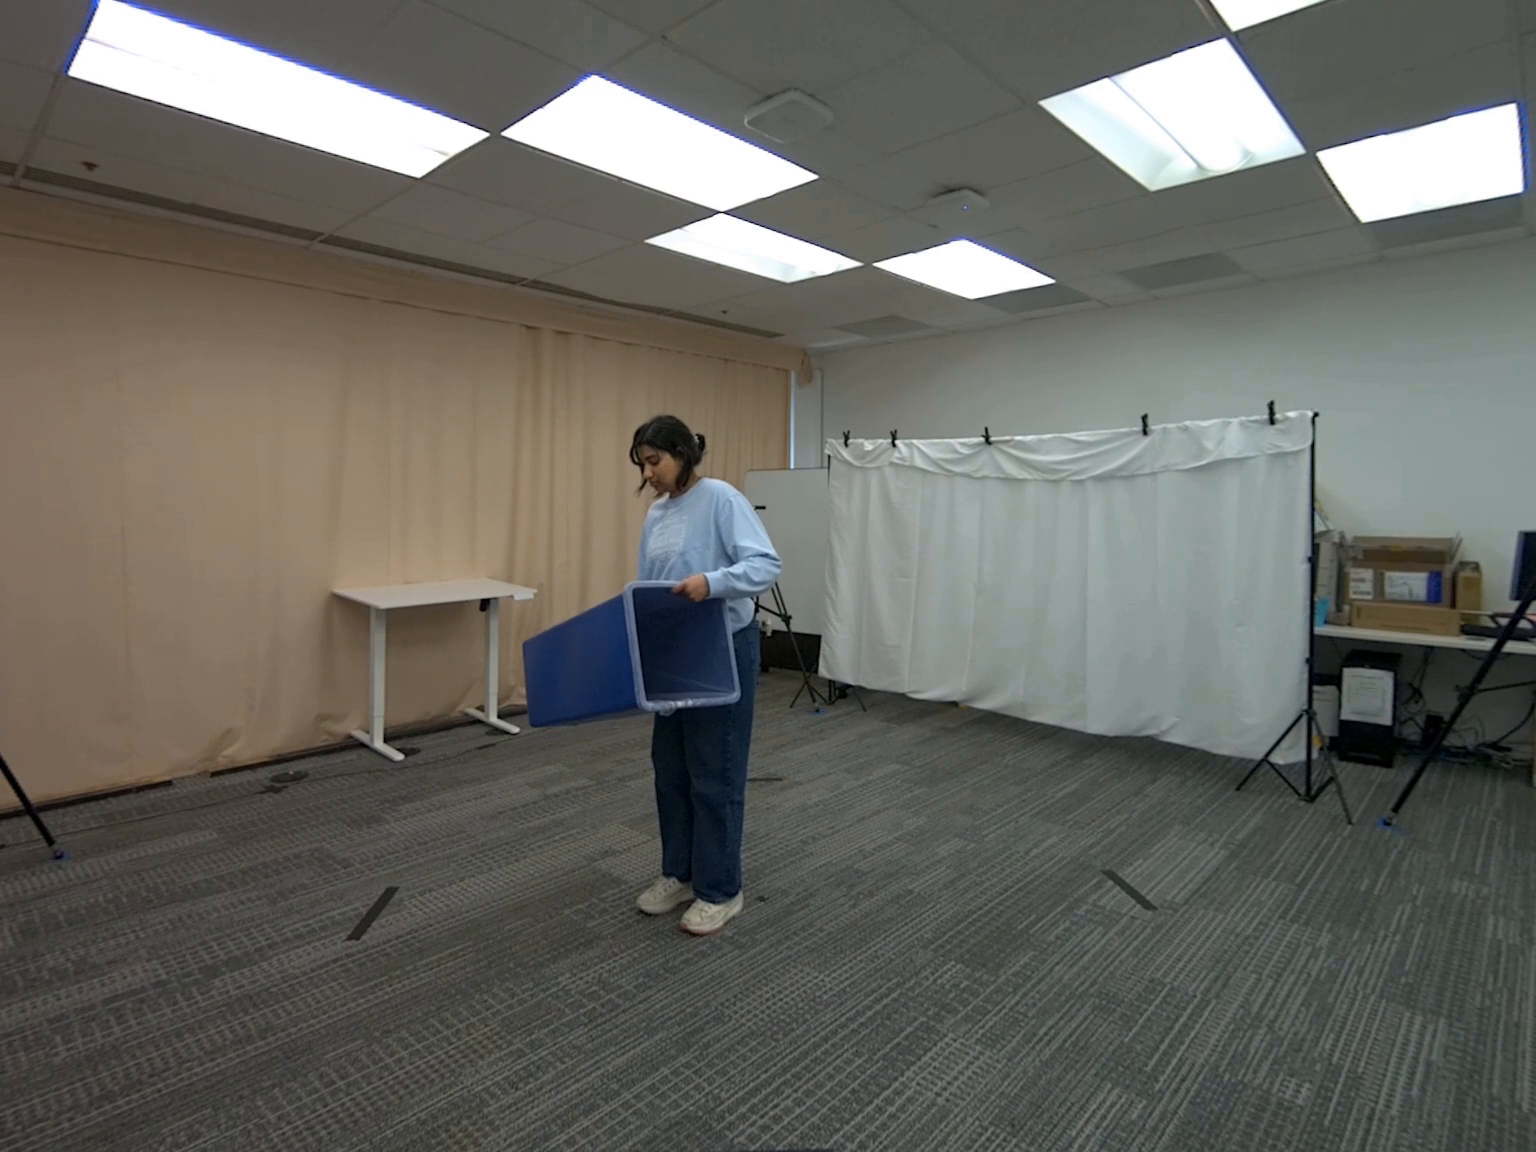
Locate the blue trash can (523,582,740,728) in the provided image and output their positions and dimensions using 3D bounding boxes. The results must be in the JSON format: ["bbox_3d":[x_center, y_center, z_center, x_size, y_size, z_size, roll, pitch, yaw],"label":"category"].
[{"bbox_3d":[-0.481,0.280,2.707,0.366,0.377,0.730,2,-15,-43],"label":"blue trash can"}]
